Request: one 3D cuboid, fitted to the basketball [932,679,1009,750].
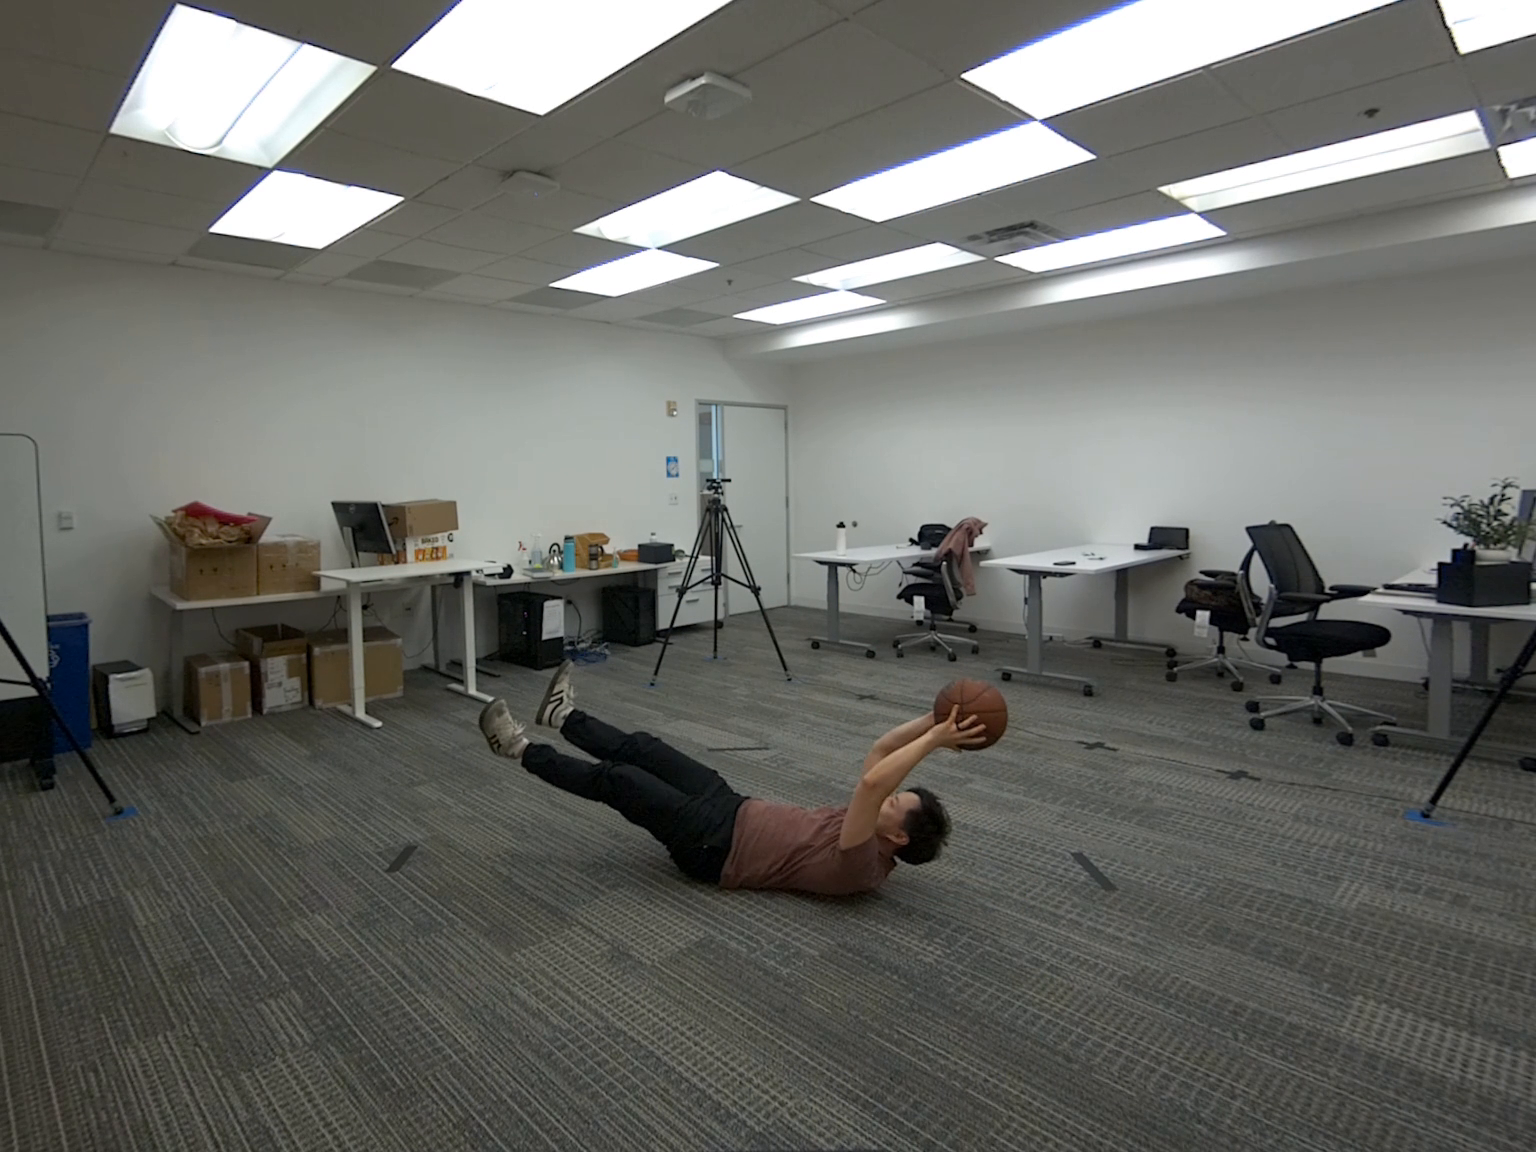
[{"bbox_3d":[0.667,0.453,2.802,0.236,0.236,0.236,0,1,-2],"label":"basketball"}]
